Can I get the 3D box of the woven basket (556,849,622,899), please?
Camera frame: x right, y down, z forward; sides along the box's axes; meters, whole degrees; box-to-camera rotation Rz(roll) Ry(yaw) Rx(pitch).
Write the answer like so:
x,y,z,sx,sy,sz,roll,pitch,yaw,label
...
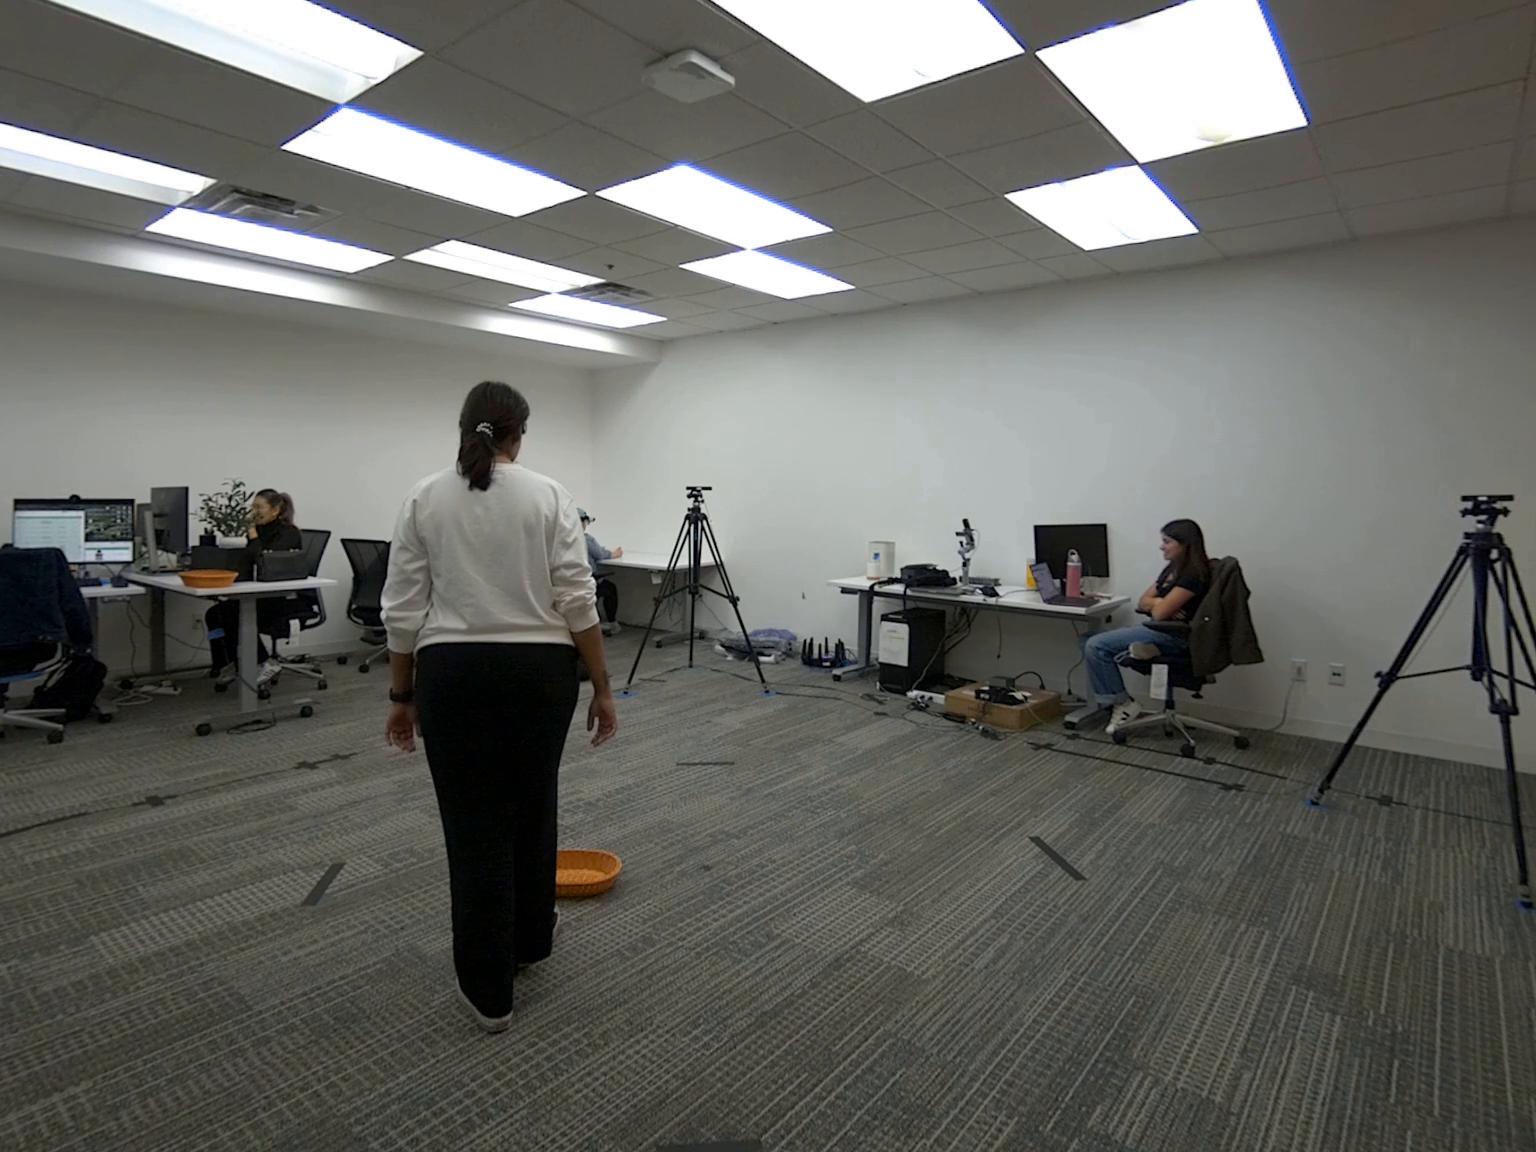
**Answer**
x,y,z,sx,sy,sz,roll,pitch,yaw,label
-0.684,1.033,2.951,0.351,0.073,0.253,2,7,1,woven basket
